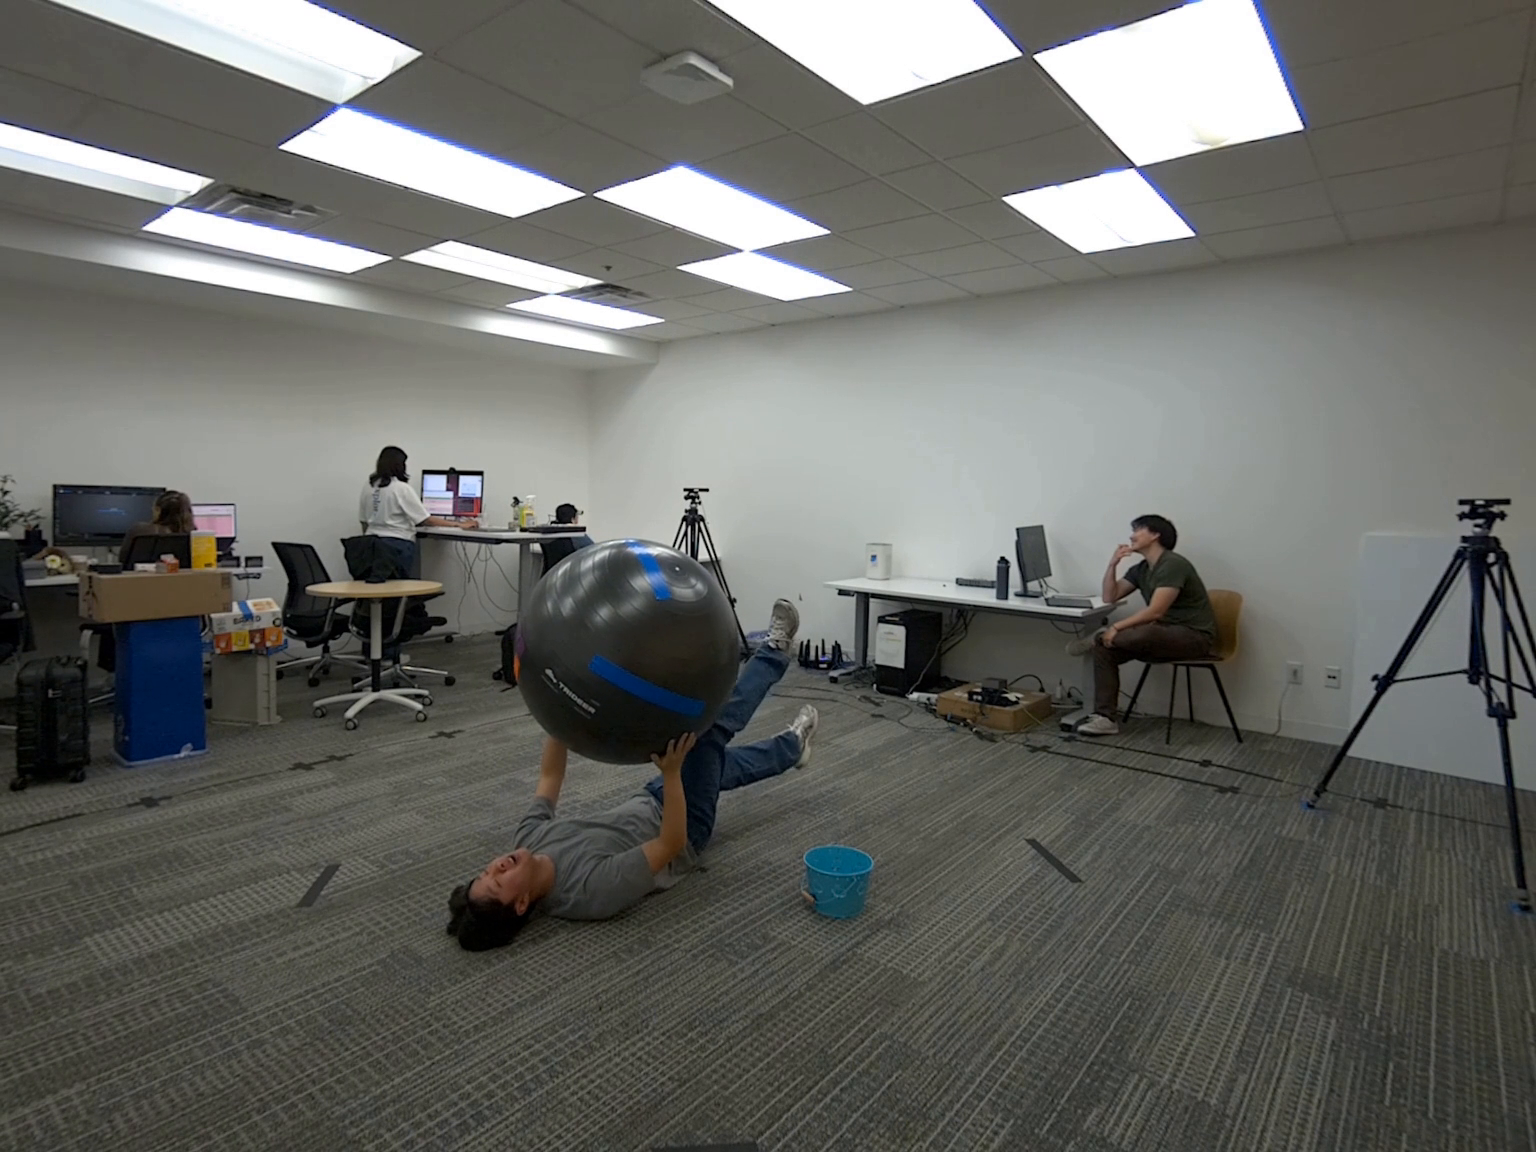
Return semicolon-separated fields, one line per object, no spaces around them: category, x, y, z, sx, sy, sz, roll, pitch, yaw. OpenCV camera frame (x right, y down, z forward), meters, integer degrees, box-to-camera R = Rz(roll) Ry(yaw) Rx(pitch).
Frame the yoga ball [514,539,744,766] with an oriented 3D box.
yoga ball;-0.492;0.255;2.889;0.757;0.756;0.762;1;4;-2
